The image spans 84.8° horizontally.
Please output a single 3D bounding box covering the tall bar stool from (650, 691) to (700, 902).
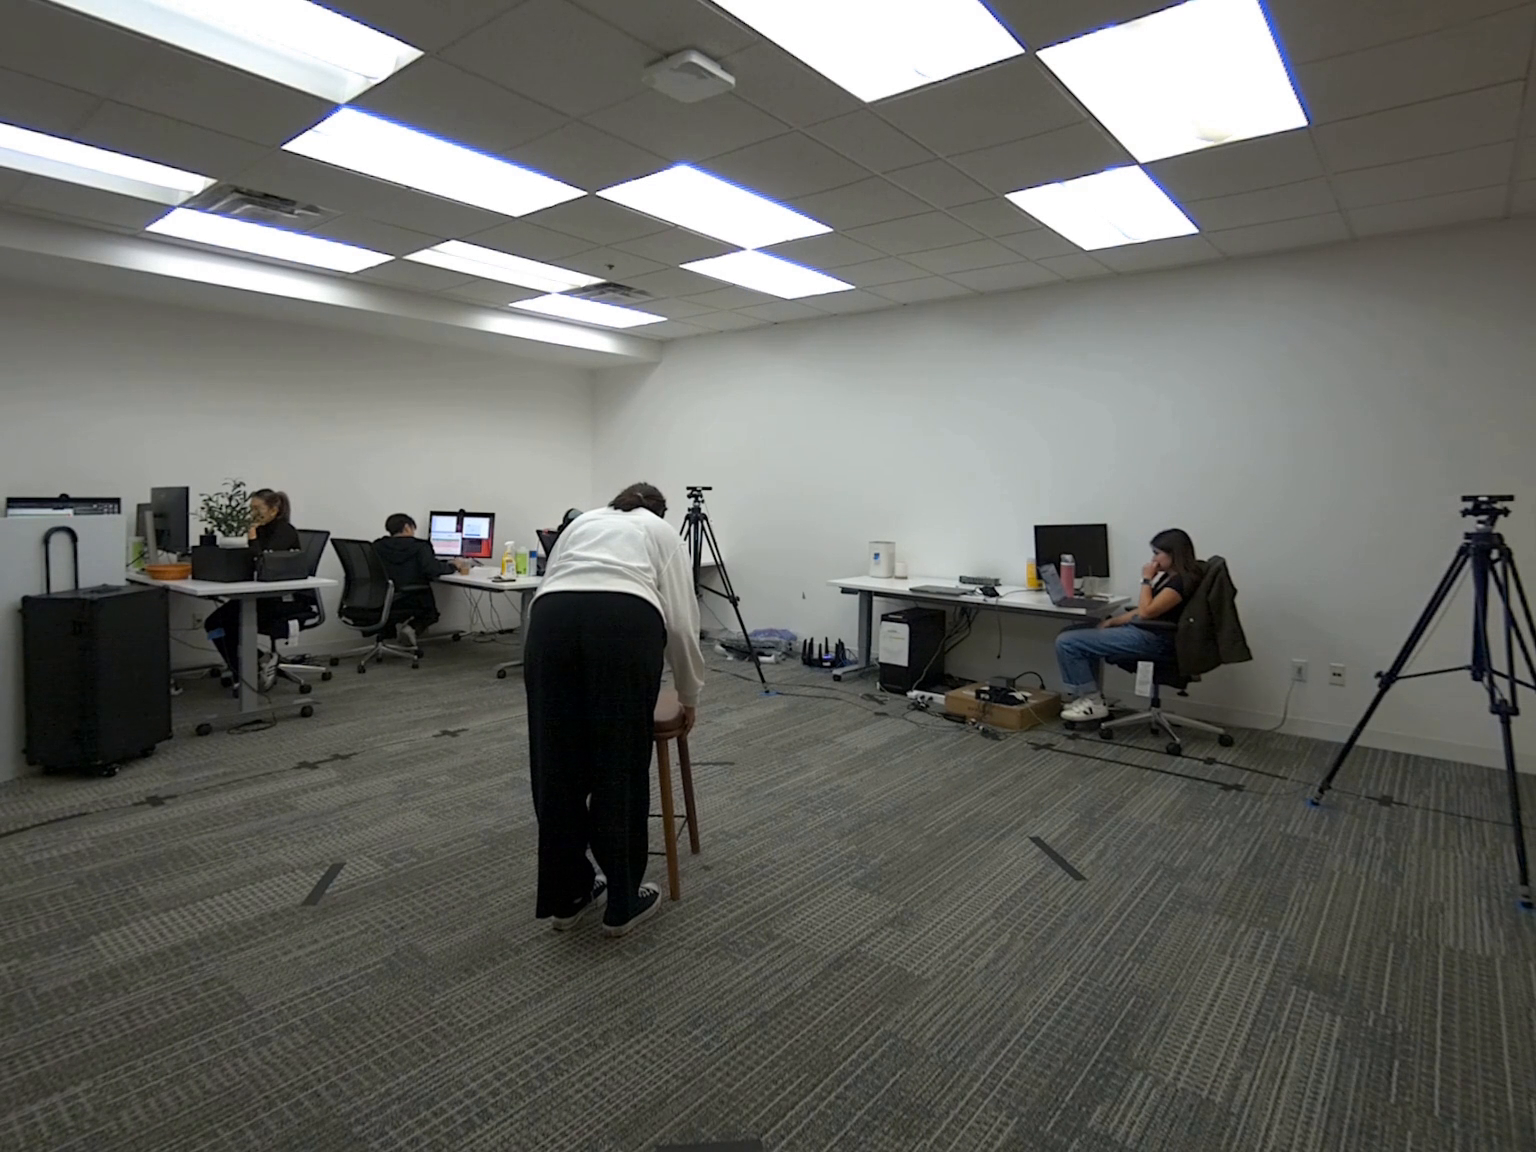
[{"bbox_3d":[-0.497,0.627,3.066,0.473,0.887,0.453,0,3,9],"label":"tall bar stool"}]
